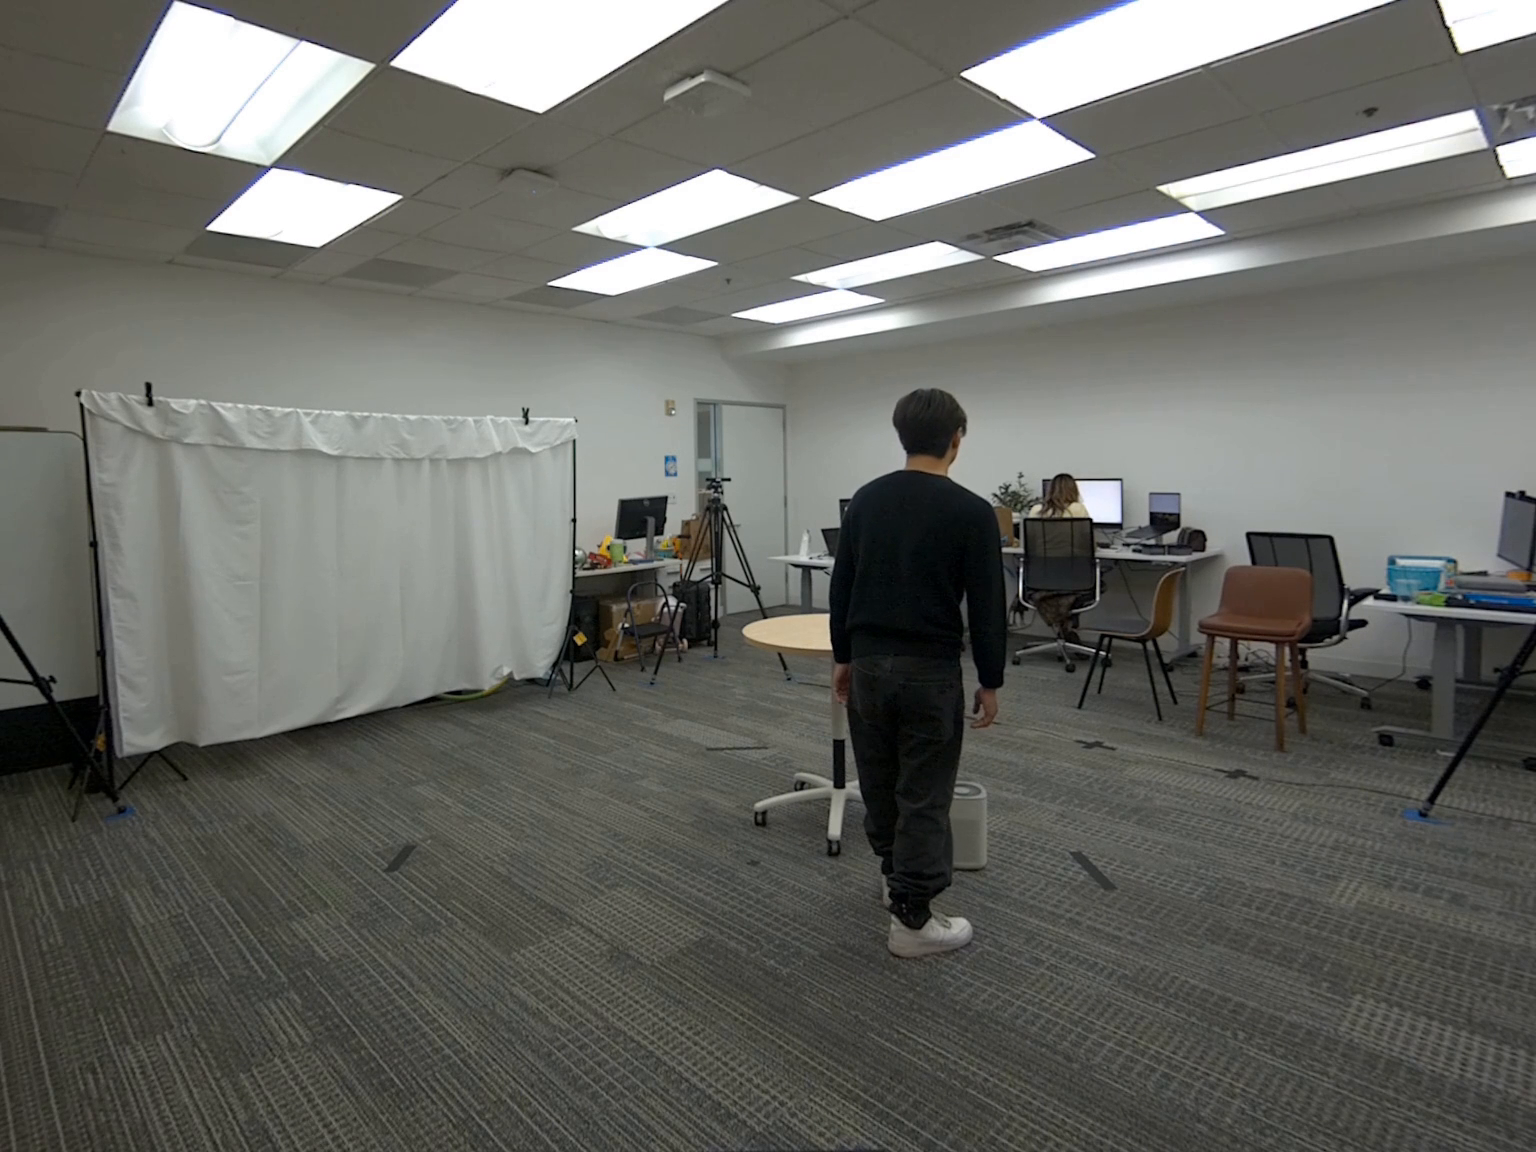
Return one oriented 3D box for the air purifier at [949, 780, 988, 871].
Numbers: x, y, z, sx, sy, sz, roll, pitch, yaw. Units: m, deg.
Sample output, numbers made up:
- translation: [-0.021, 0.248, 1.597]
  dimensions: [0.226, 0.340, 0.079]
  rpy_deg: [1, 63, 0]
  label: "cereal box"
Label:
- translation: [0.701, 0.899, 3.081]
  dimensions: [0.172, 0.264, 0.171]
  rpy_deg: [-1, 4, 5]
  label: "air purifier"
